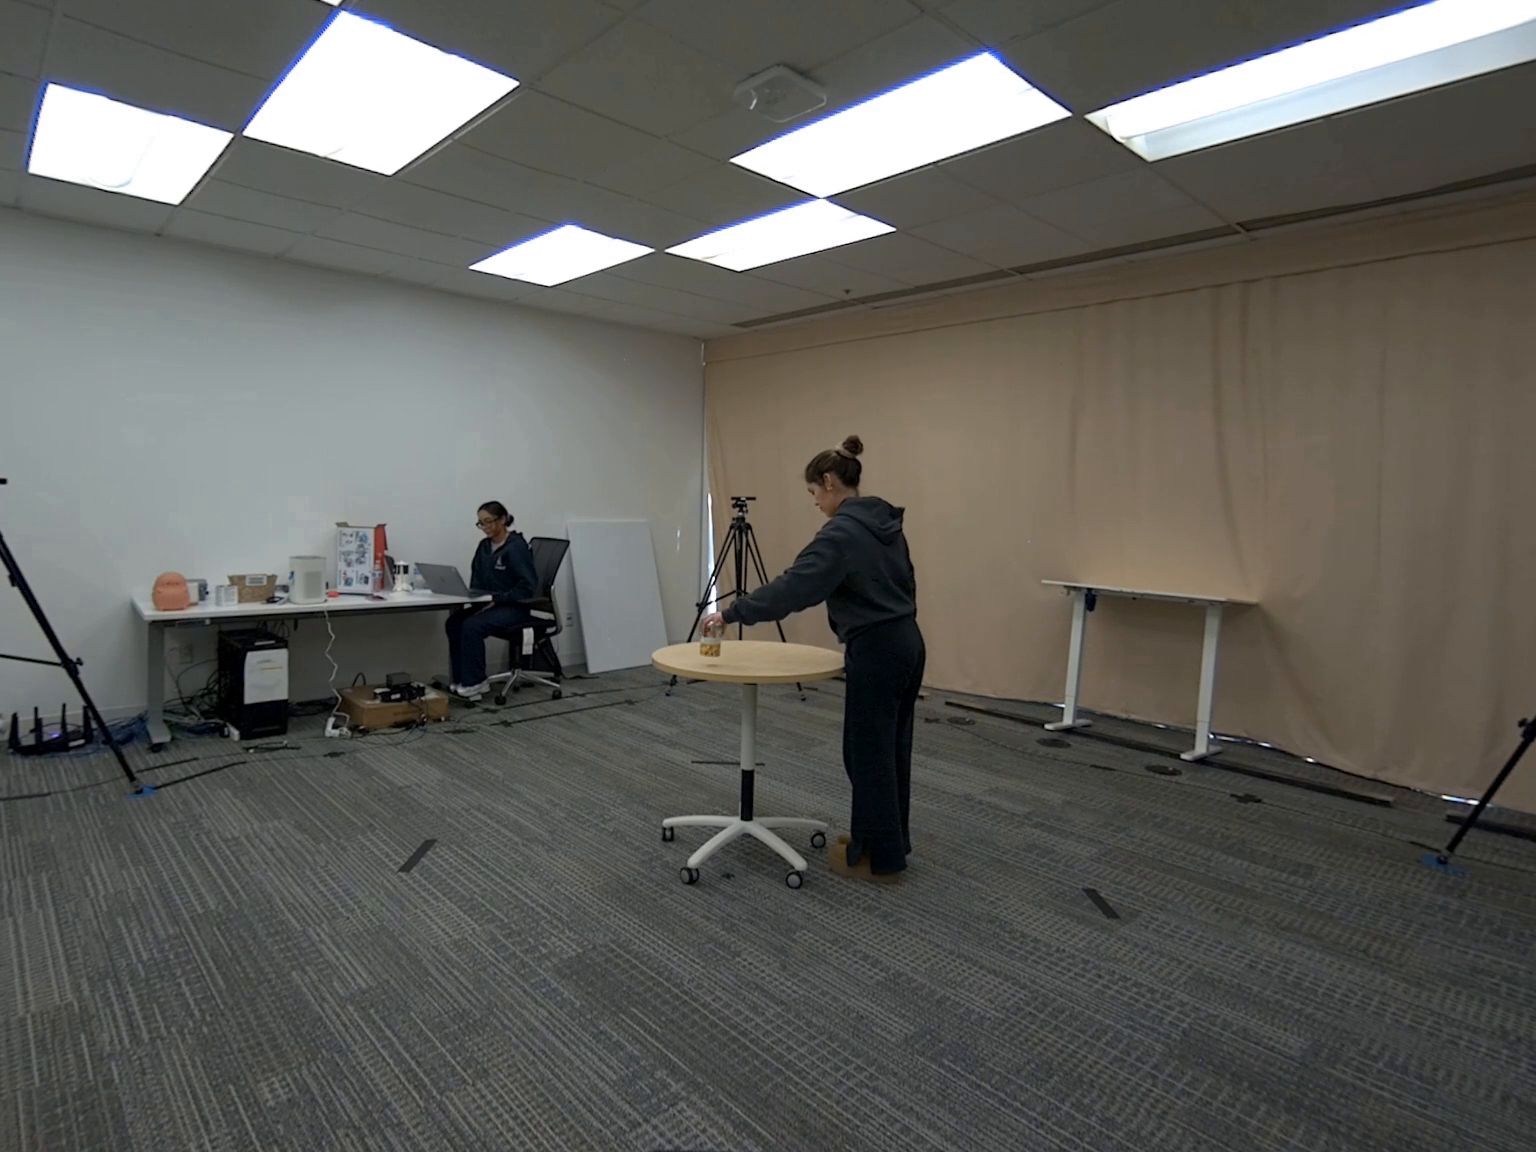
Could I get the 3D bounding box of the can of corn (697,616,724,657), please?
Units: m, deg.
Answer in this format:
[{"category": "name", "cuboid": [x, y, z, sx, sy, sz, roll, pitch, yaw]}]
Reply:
[{"category": "can of corn", "cuboid": [-0.208, 0.239, 3.054, 0.074, 0.111, 0.074, 5, 3, -2]}]
